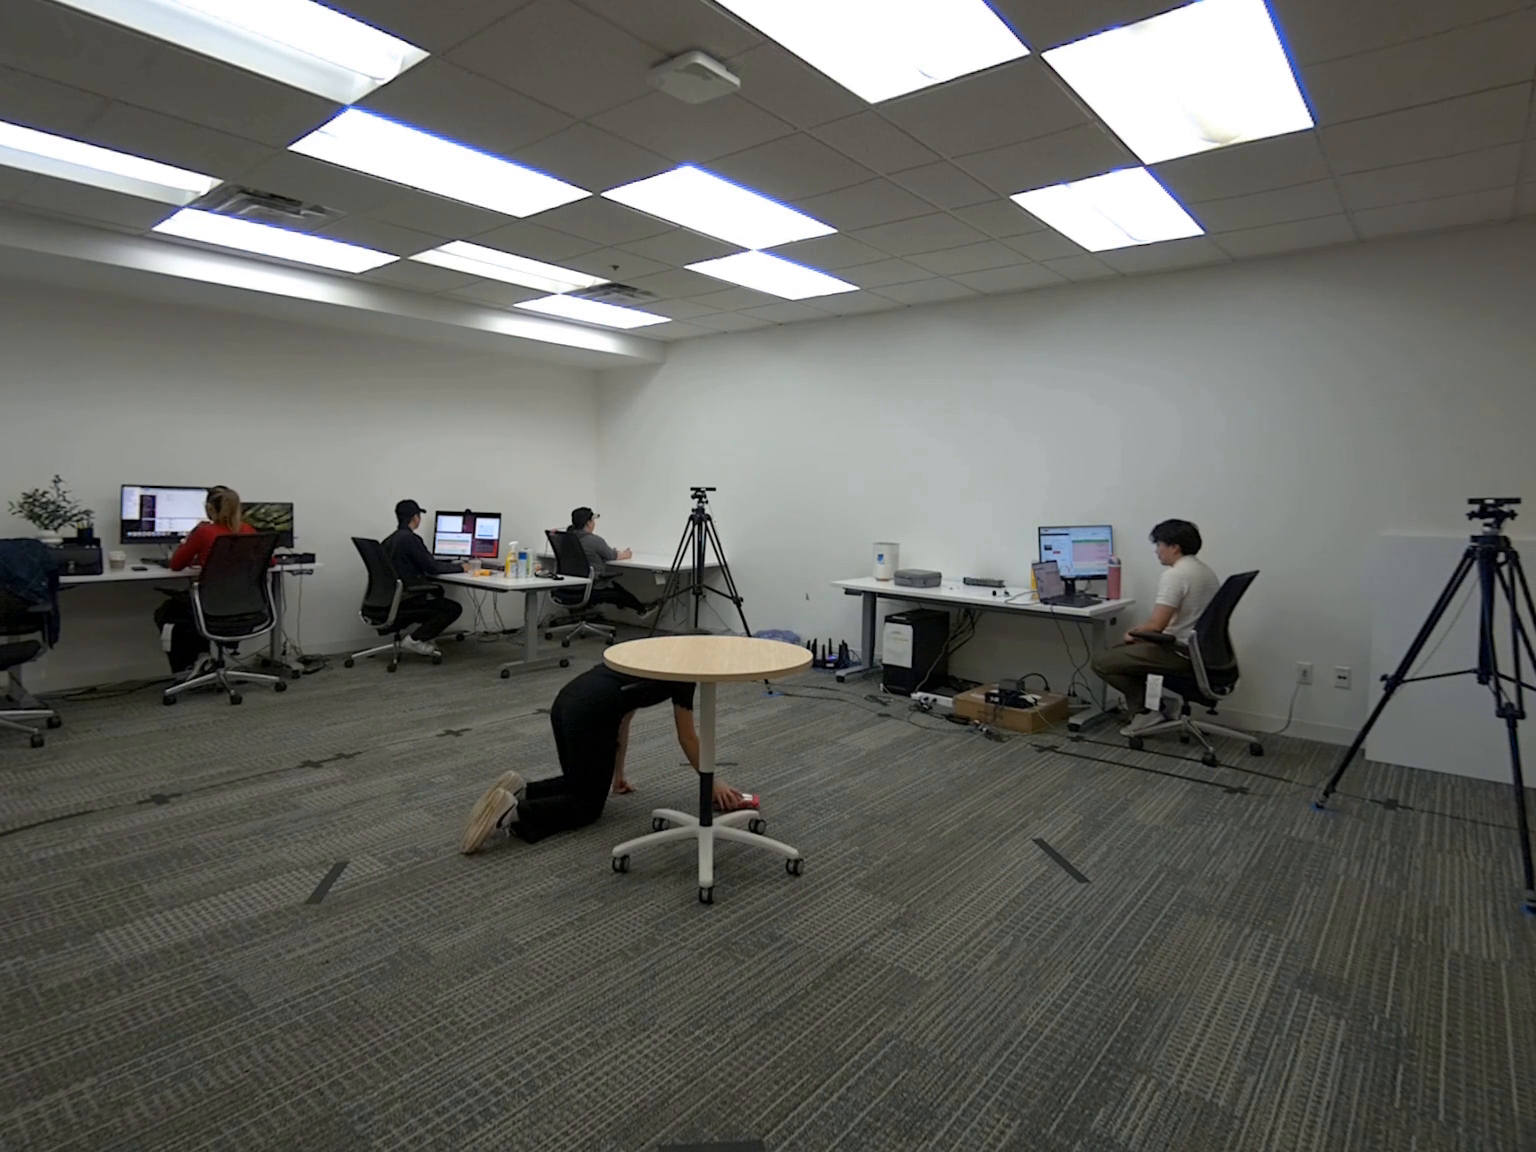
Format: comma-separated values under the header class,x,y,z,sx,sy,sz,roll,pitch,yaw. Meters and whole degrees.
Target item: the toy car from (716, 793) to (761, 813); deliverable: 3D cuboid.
class,x,y,z,sx,sy,sz,roll,pitch,yaw
toy car,-0.179,0.982,3.710,0.256,0.083,0.130,11,4,4
